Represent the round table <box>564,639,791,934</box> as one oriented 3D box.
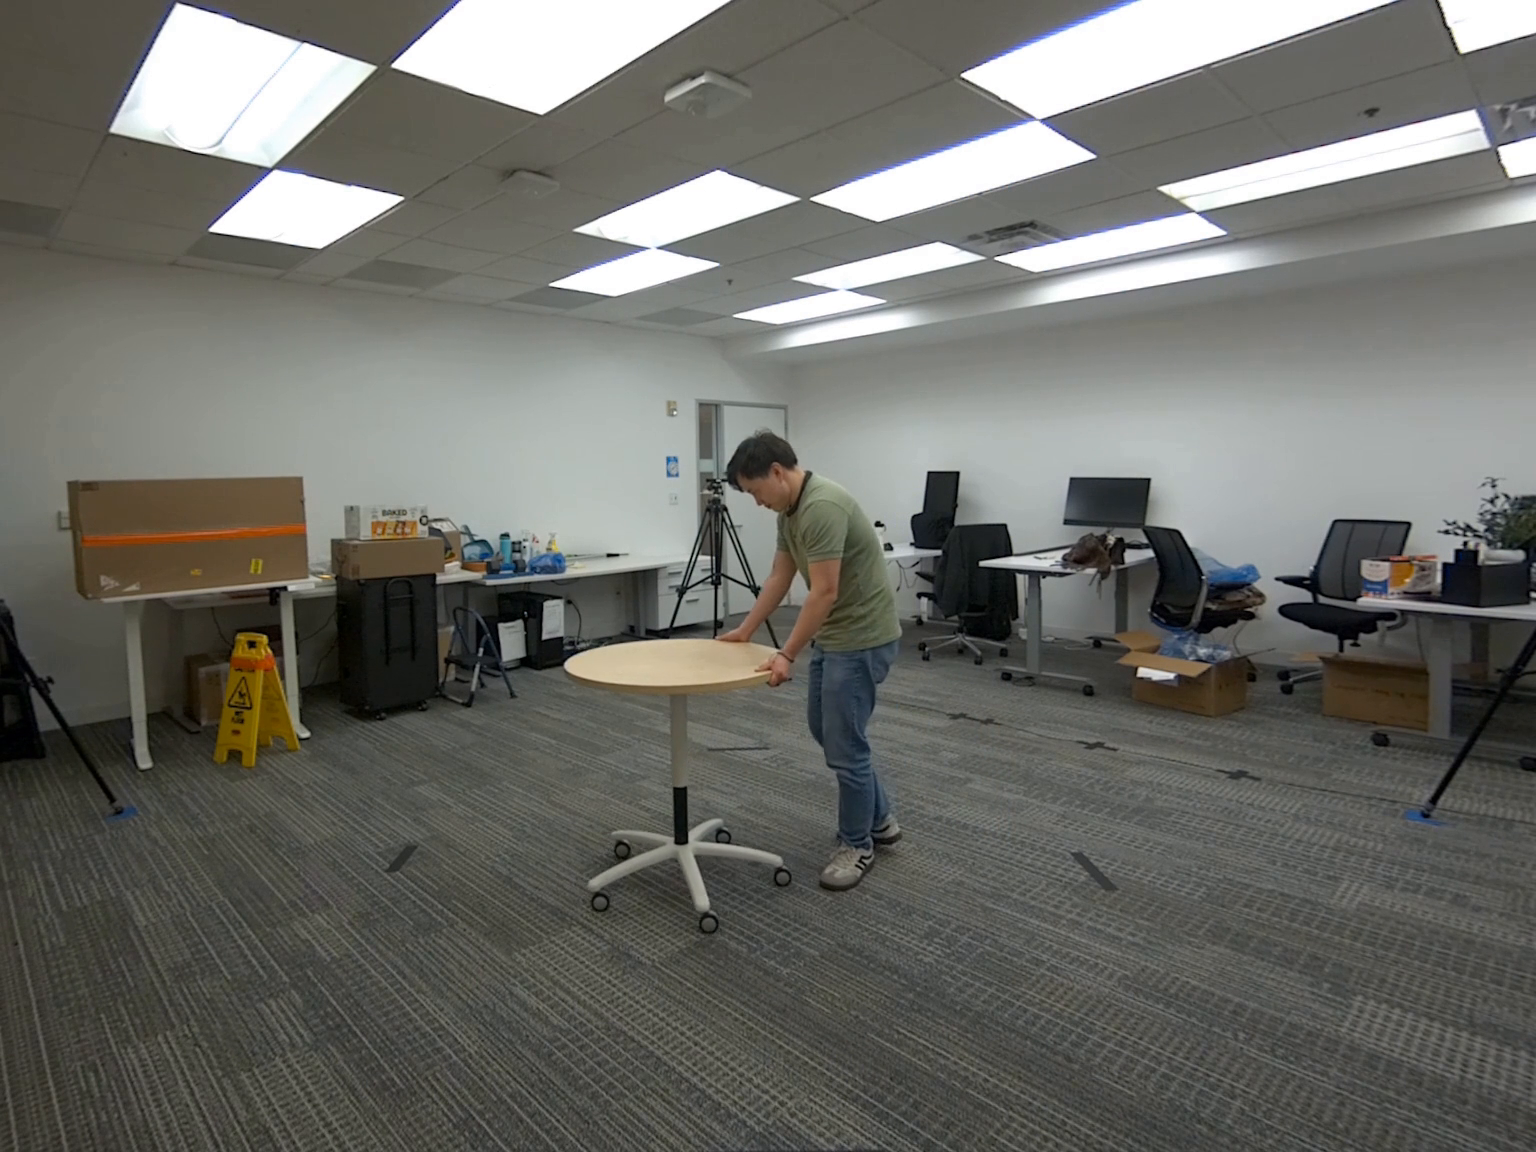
[{"bbox_3d":[-0.298,0.678,2.942,0.763,0.791,0.768,-1,5,-2],"label":"round table"}]
